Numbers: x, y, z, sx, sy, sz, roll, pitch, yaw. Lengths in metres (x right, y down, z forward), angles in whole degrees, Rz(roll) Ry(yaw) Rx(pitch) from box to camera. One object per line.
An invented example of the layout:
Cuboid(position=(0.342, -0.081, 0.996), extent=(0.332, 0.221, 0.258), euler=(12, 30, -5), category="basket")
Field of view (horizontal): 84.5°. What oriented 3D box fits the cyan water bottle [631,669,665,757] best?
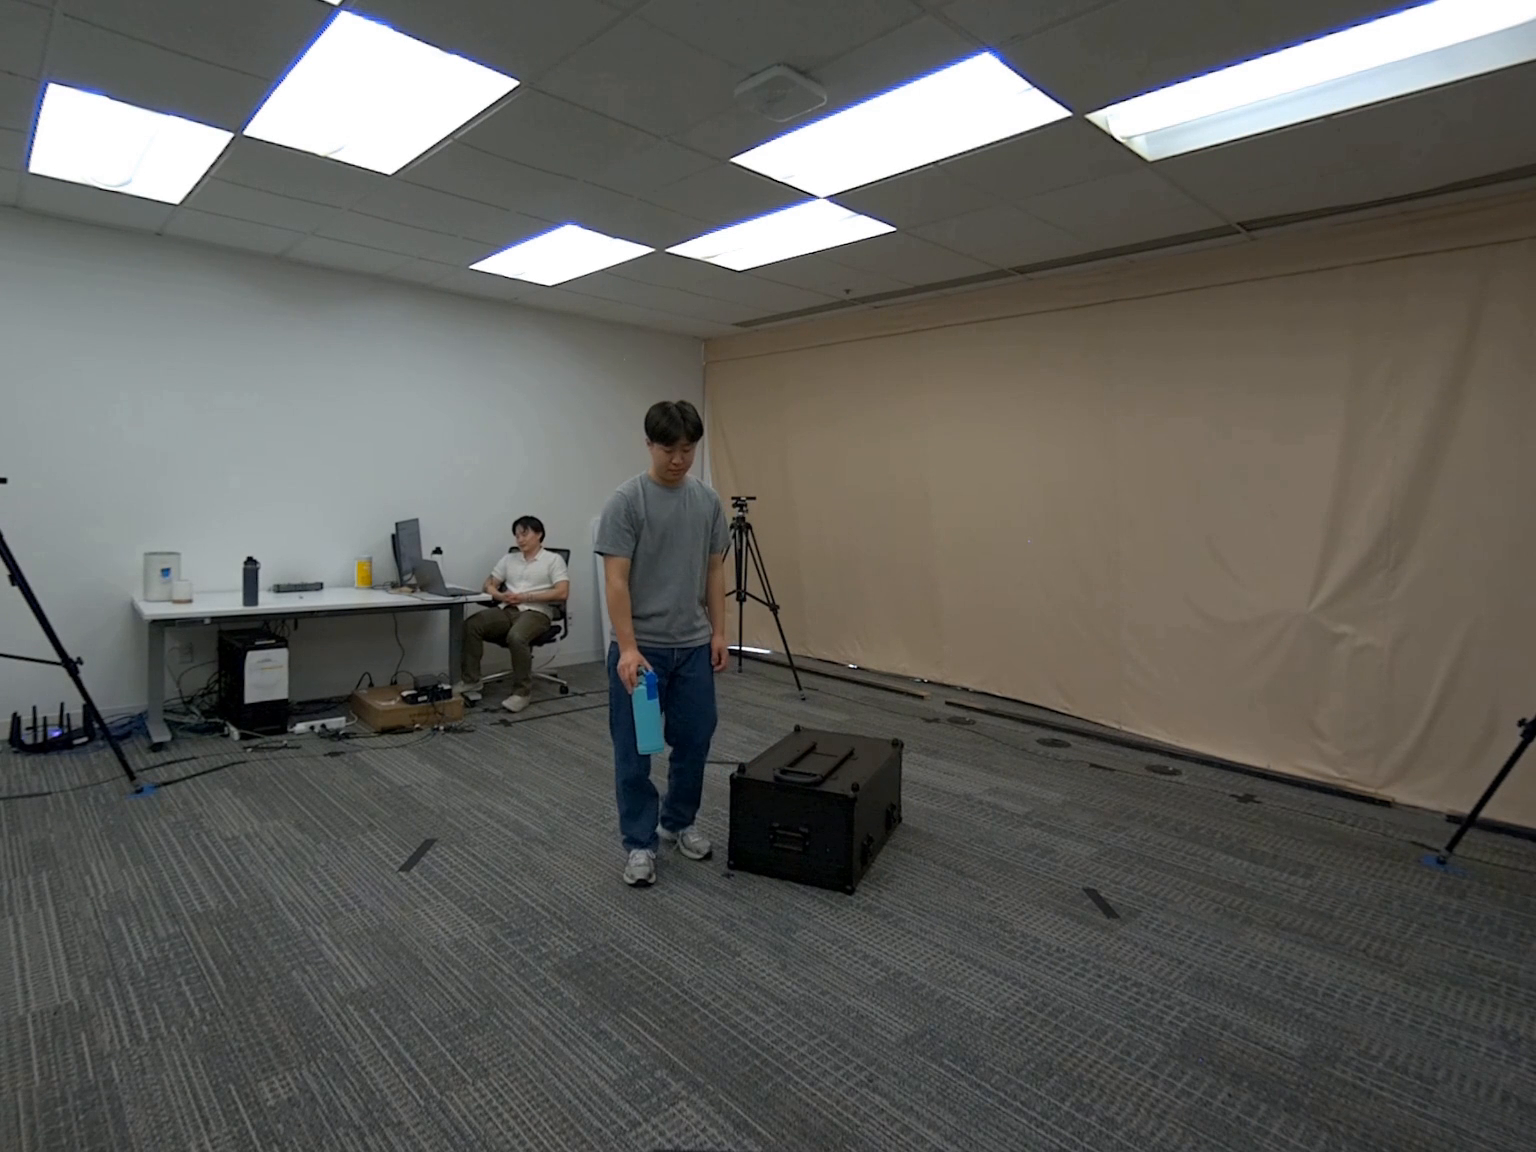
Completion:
Cuboid(position=(-0.424, 0.450, 2.818), extent=(0.092, 0.284, 0.092), euler=(-2, -1, -1), category="cyan water bottle")
